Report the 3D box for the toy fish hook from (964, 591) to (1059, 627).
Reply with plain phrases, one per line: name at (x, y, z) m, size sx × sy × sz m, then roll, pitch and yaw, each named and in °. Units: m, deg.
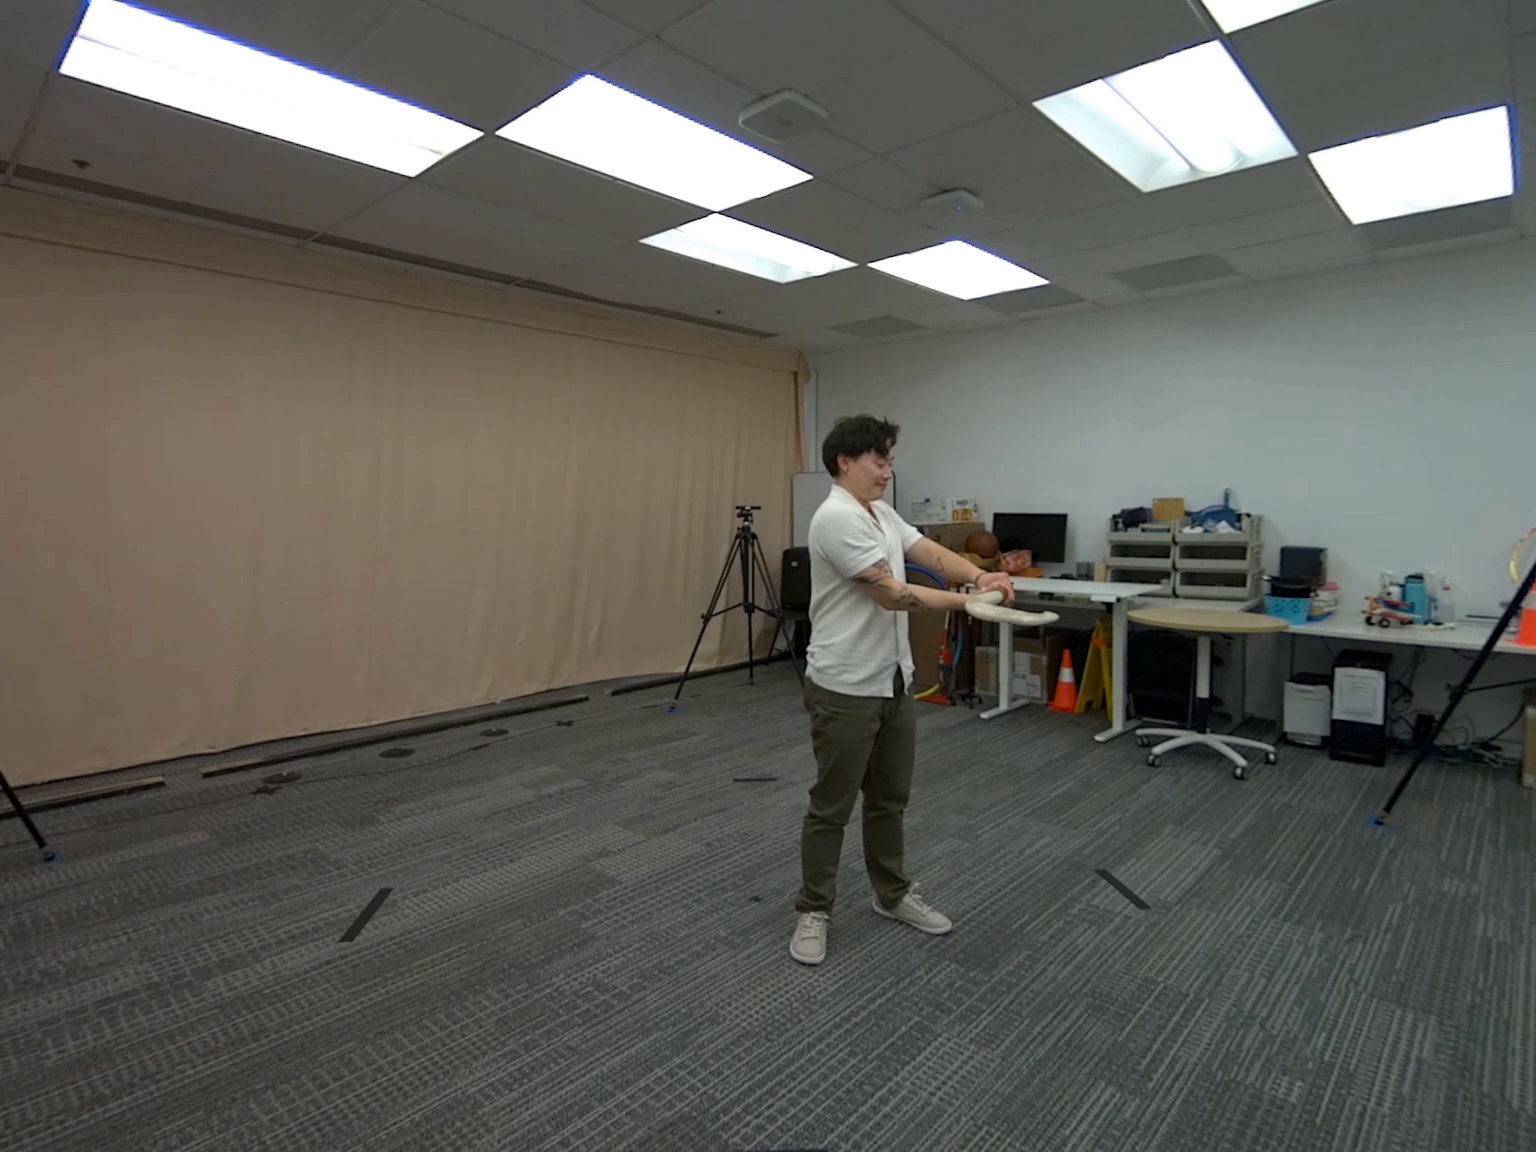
toy fish hook at (0.686, 0.076, 2.273) m, size 0.230 × 0.048 × 0.498 m, roll 13°, pitch 12°, yaw 18°
